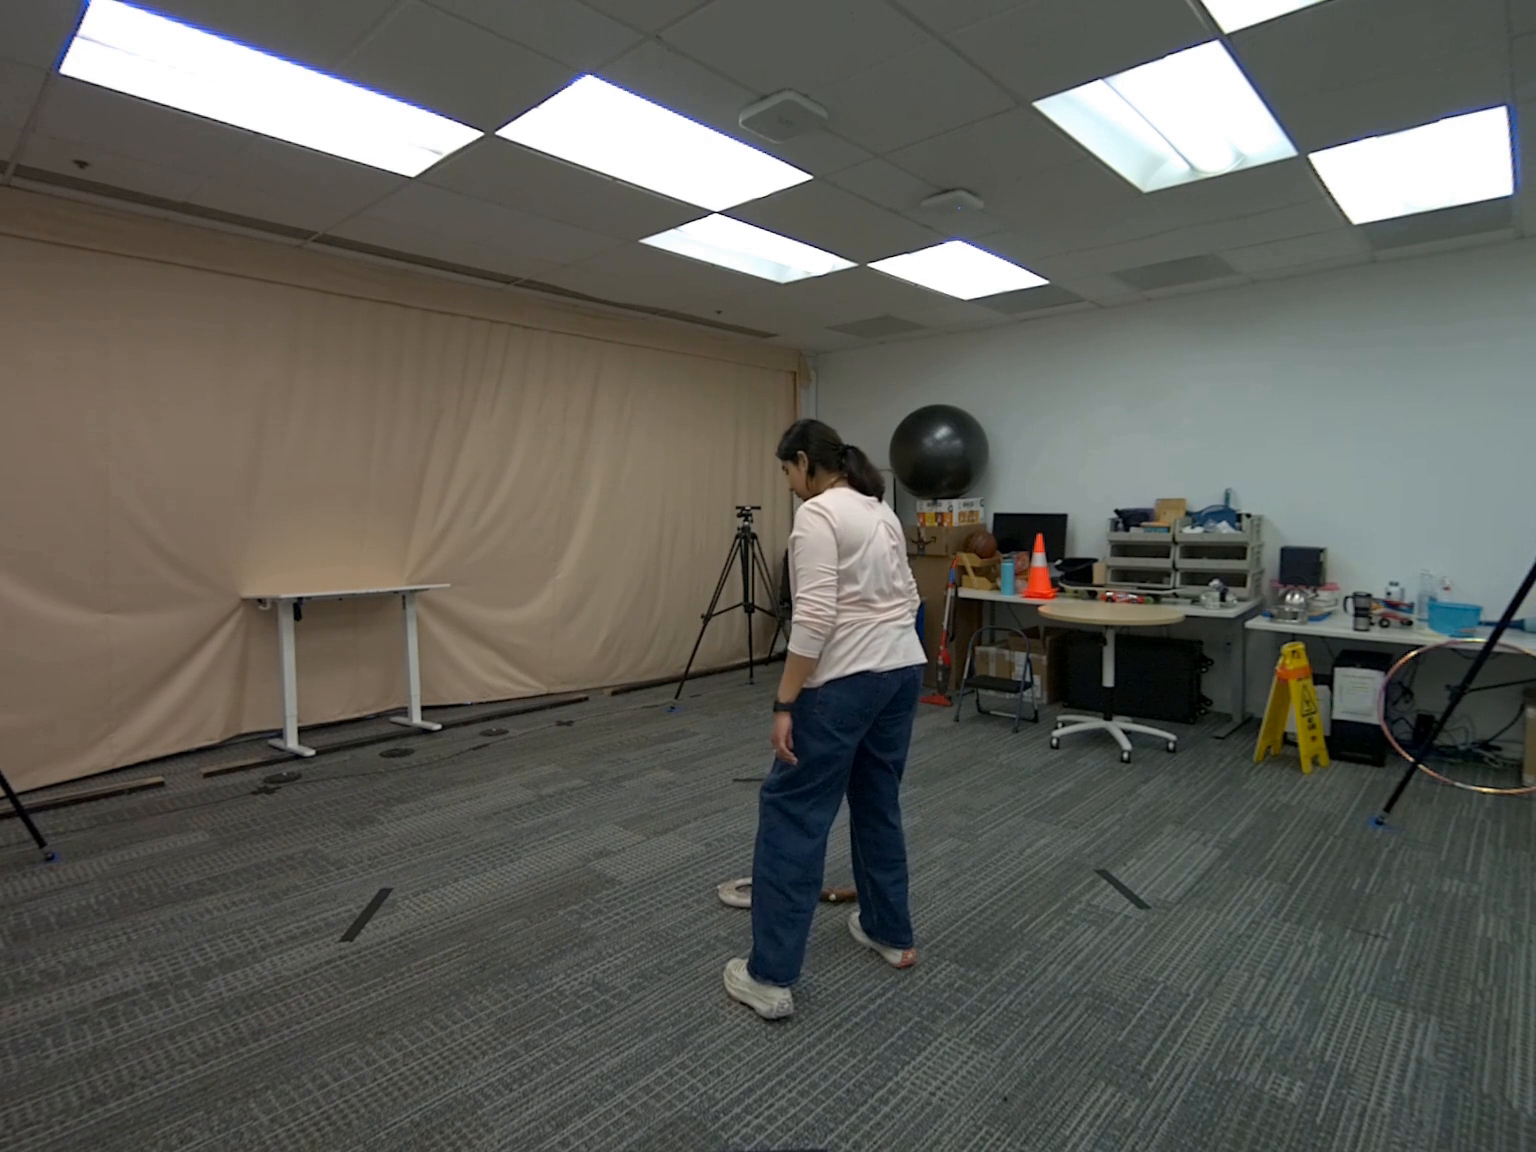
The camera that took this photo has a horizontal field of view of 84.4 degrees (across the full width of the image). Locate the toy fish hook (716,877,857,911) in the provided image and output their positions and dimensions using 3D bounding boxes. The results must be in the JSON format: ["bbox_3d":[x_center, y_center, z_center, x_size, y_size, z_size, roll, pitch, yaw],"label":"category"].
[{"bbox_3d":[0.079,1.119,3.010,0.505,0.048,0.226,0,6,-4],"label":"toy fish hook"}]
